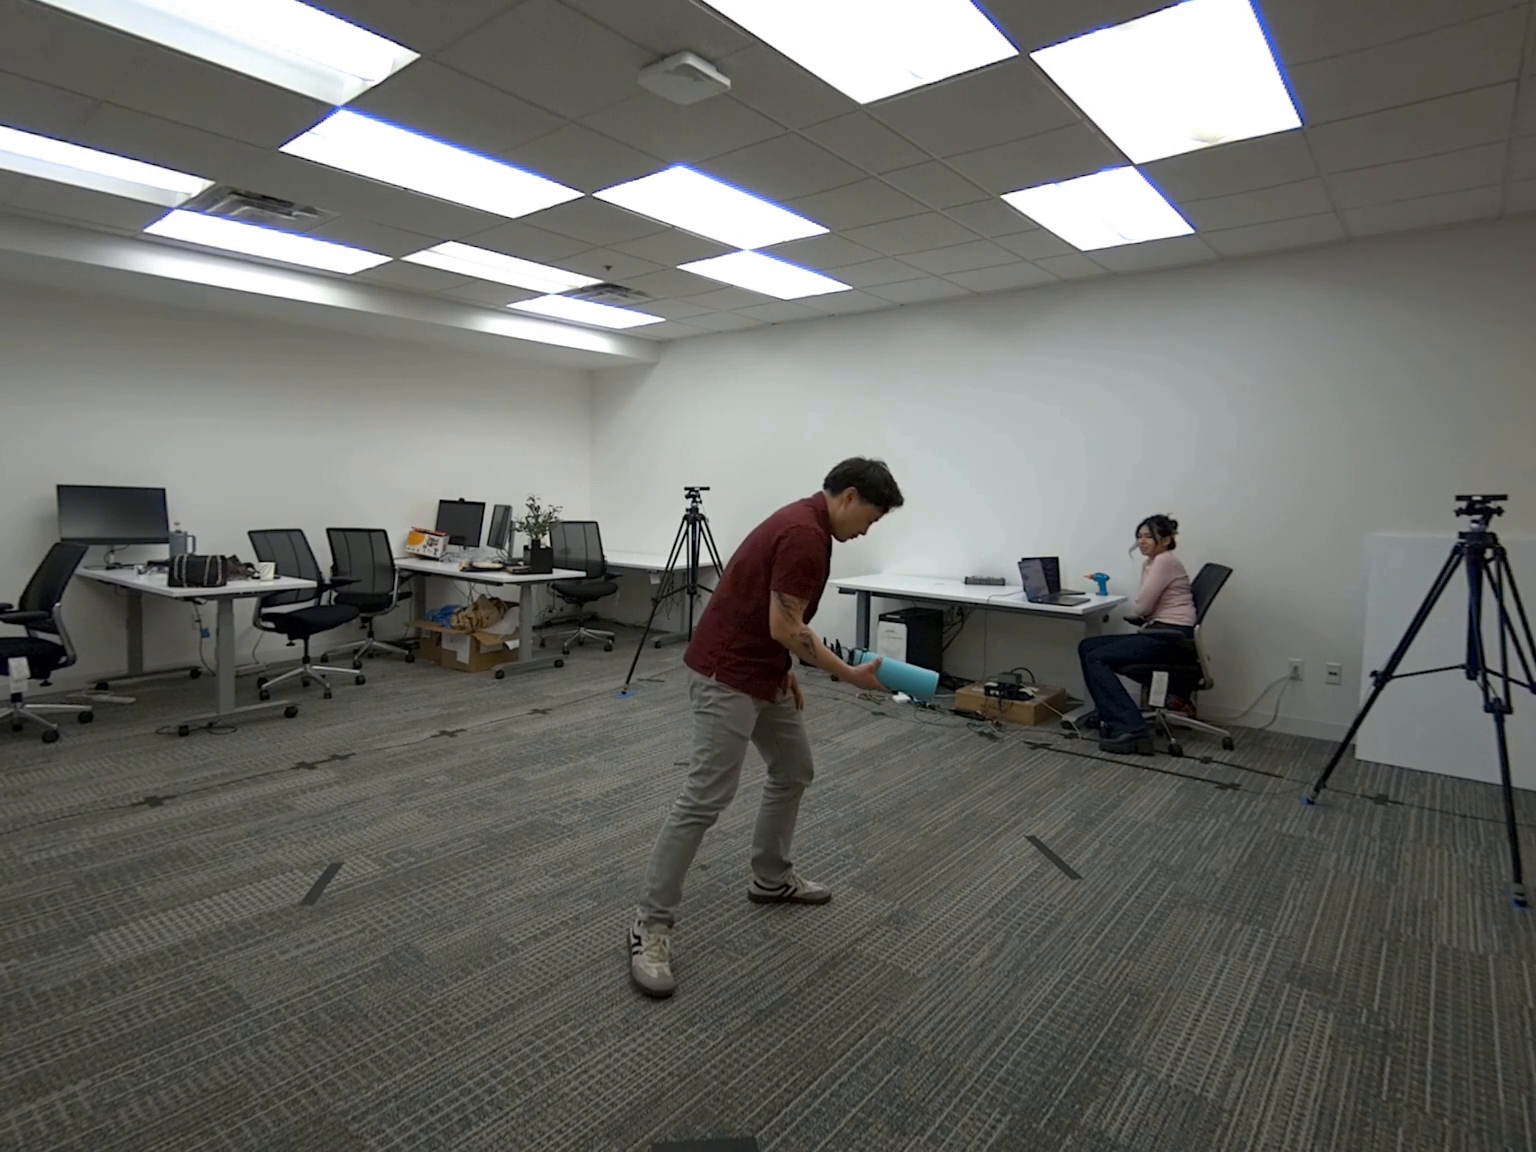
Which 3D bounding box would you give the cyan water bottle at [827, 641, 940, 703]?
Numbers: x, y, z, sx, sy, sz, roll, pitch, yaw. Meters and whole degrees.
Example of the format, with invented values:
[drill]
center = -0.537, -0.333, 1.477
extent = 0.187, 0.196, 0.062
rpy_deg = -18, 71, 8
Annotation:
[cyan water bottle]
center = 0.357, 0.293, 2.563
extent = 0.288, 0.092, 0.091
rpy_deg = 16, 7, 13
